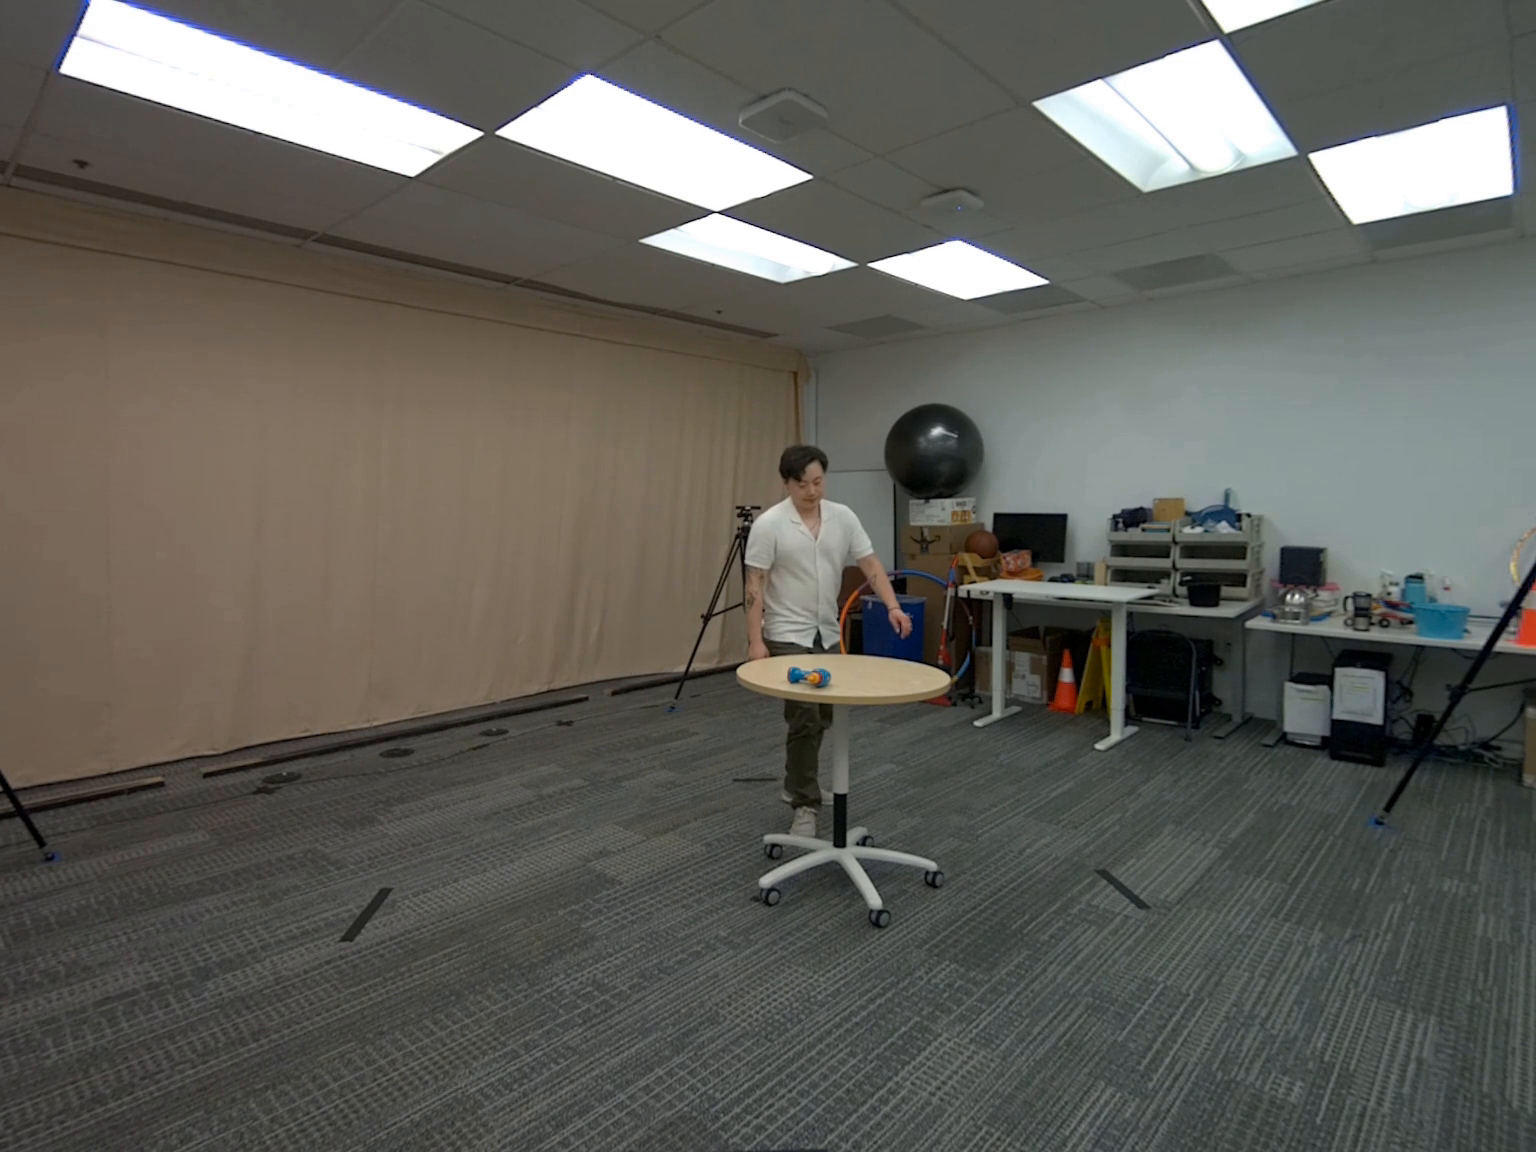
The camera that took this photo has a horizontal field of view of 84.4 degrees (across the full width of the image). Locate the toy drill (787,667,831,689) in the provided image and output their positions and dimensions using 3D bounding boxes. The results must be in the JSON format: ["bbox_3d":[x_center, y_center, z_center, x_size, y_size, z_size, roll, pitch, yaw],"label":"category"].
[{"bbox_3d":[0.136,0.339,2.827,0.150,0.061,0.165,1,-1,27],"label":"toy drill"}]
